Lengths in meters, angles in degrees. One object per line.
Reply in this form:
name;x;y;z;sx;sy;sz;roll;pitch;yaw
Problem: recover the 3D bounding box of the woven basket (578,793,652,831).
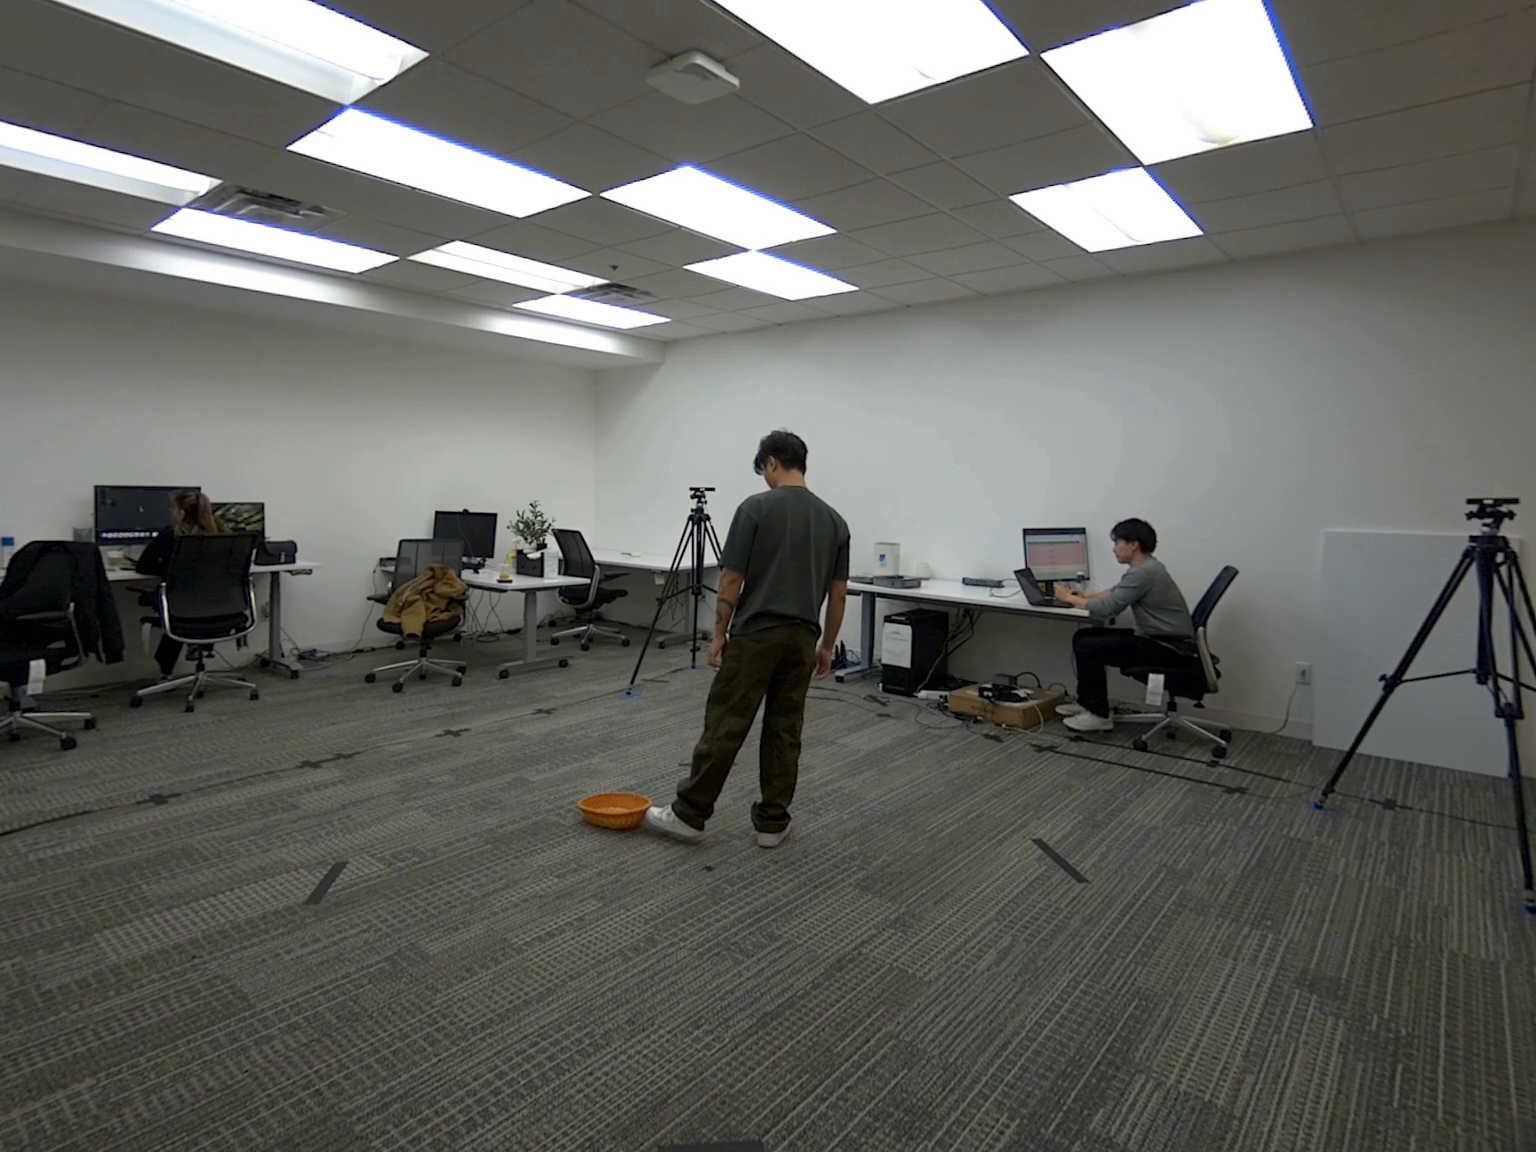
woven basket;-0.650;0.969;3.530;0.245;0.073;0.361;-5;3;-44
